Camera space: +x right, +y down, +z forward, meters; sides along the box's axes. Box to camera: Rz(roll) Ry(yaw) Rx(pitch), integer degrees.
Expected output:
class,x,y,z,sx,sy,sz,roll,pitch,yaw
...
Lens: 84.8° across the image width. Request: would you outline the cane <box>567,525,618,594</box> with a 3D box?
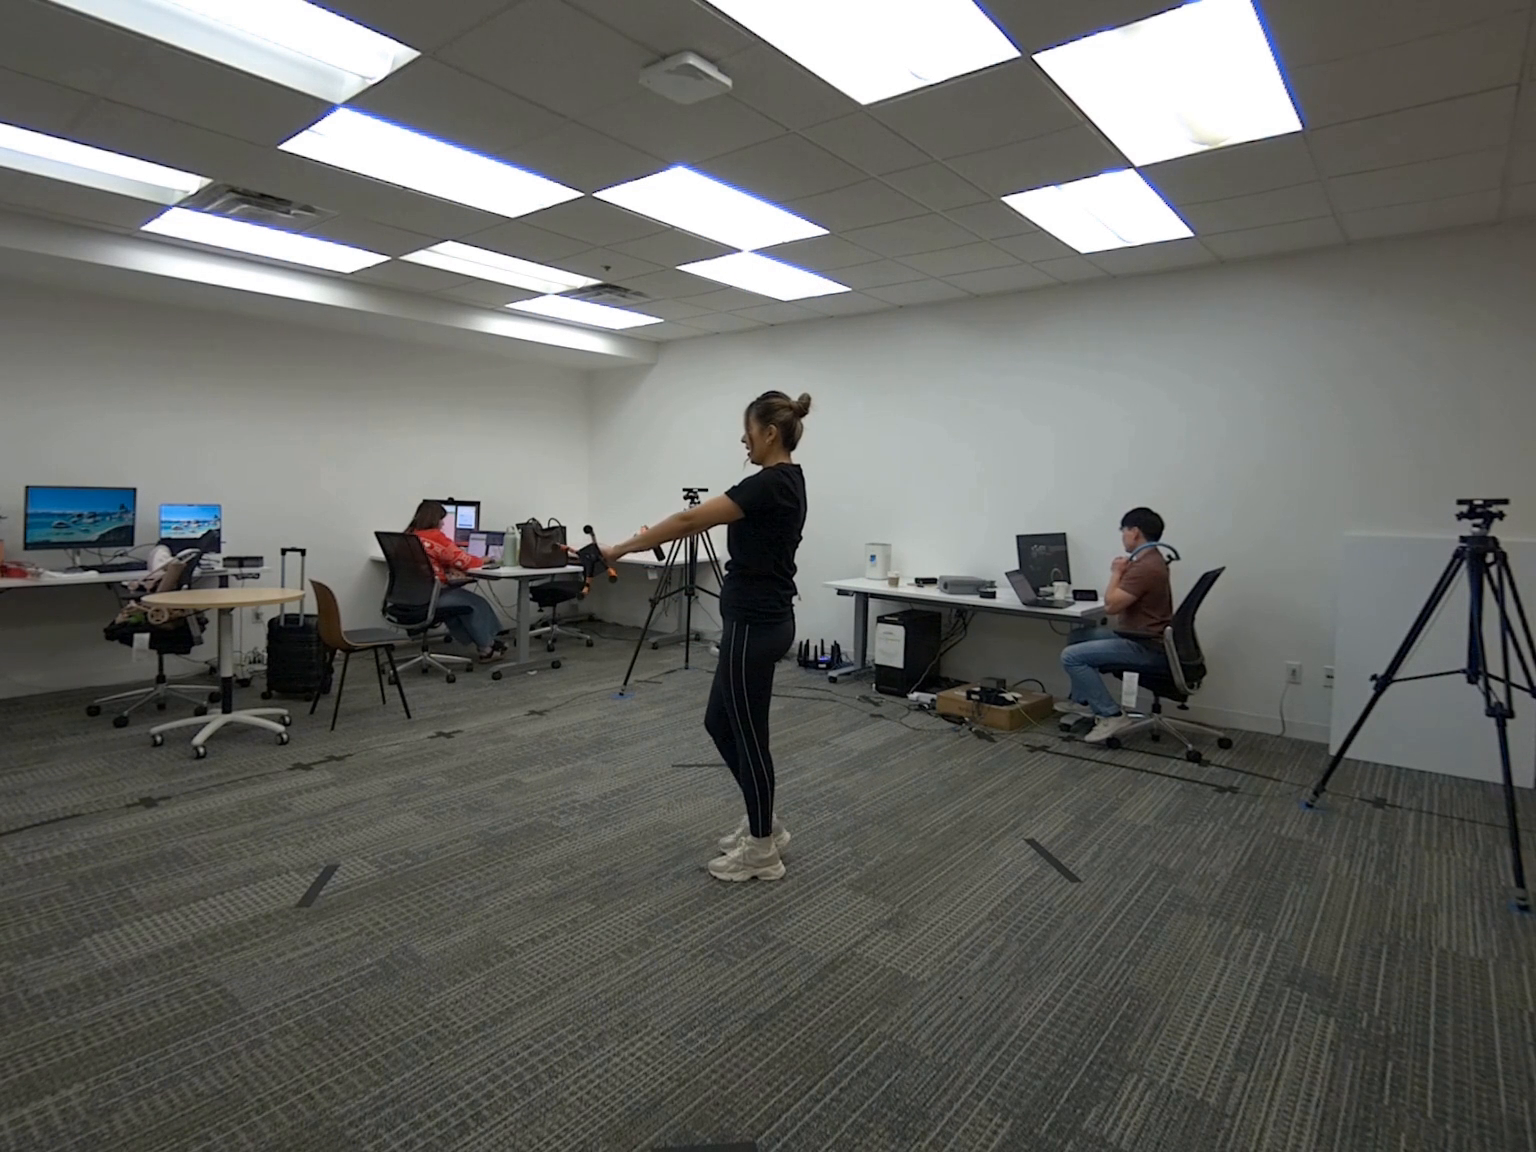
class,x,y,z,sx,sy,sz,roll,pitch,yaw
cane,-0.554,-0.099,3.154,0.152,0.206,0.904,-28,3,8
